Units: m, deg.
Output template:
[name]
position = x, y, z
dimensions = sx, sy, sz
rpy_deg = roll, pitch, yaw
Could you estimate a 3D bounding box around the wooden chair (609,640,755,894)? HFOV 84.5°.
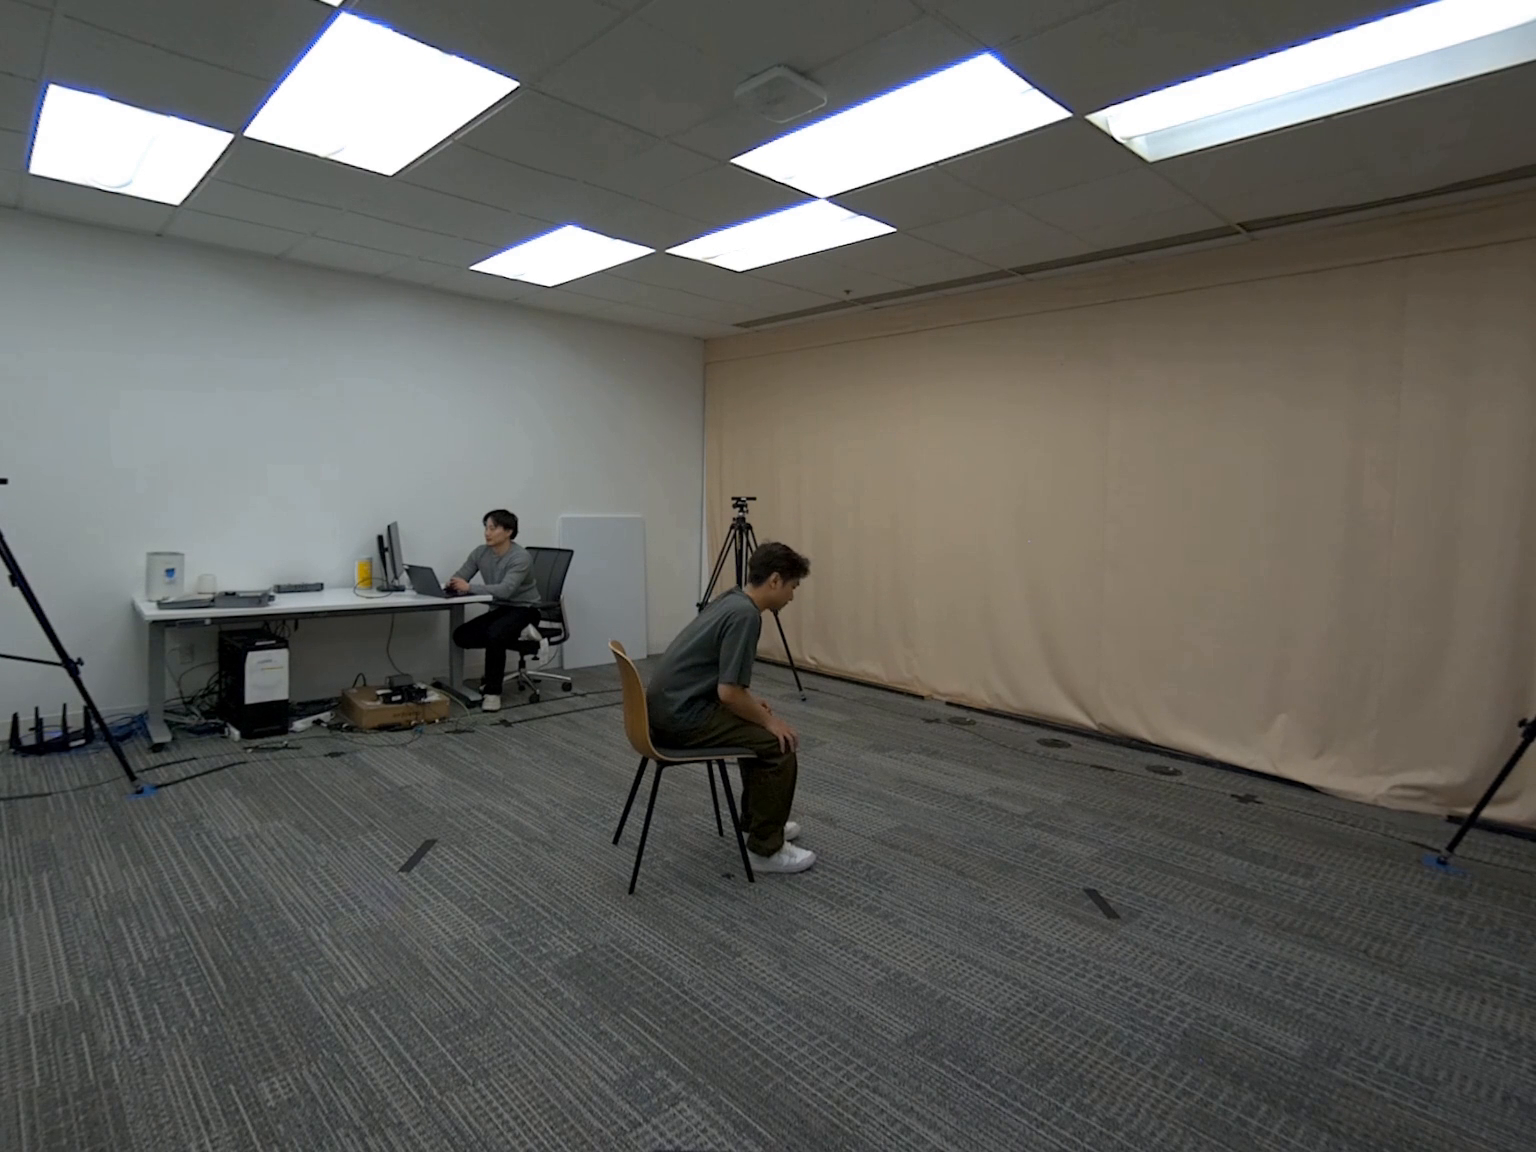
[wooden chair]
position = -0.324, 0.666, 3.186
dimensions = 0.517, 0.875, 0.485
rpy_deg = -3, 4, -16
